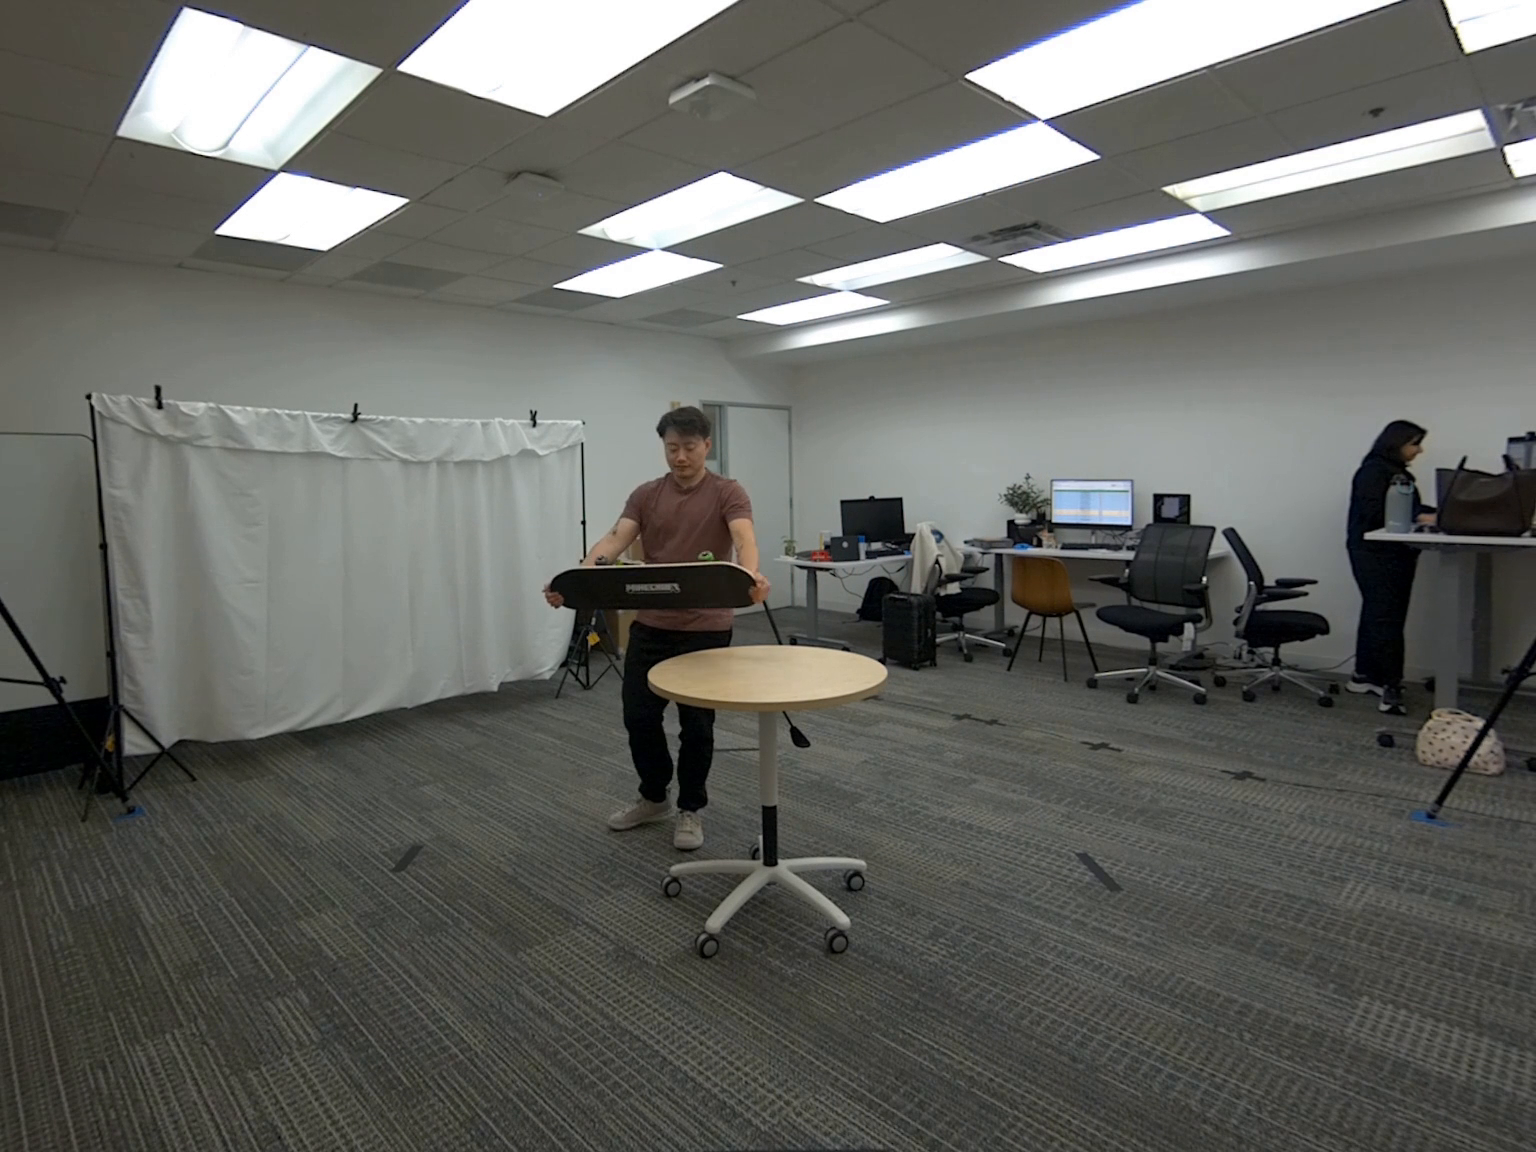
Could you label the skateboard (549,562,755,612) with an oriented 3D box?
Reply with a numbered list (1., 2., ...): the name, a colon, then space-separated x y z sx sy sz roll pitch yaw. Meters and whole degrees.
1. skateboard: -0.399 0.027 3.016 0.799 0.188 0.111 -2 32 19
